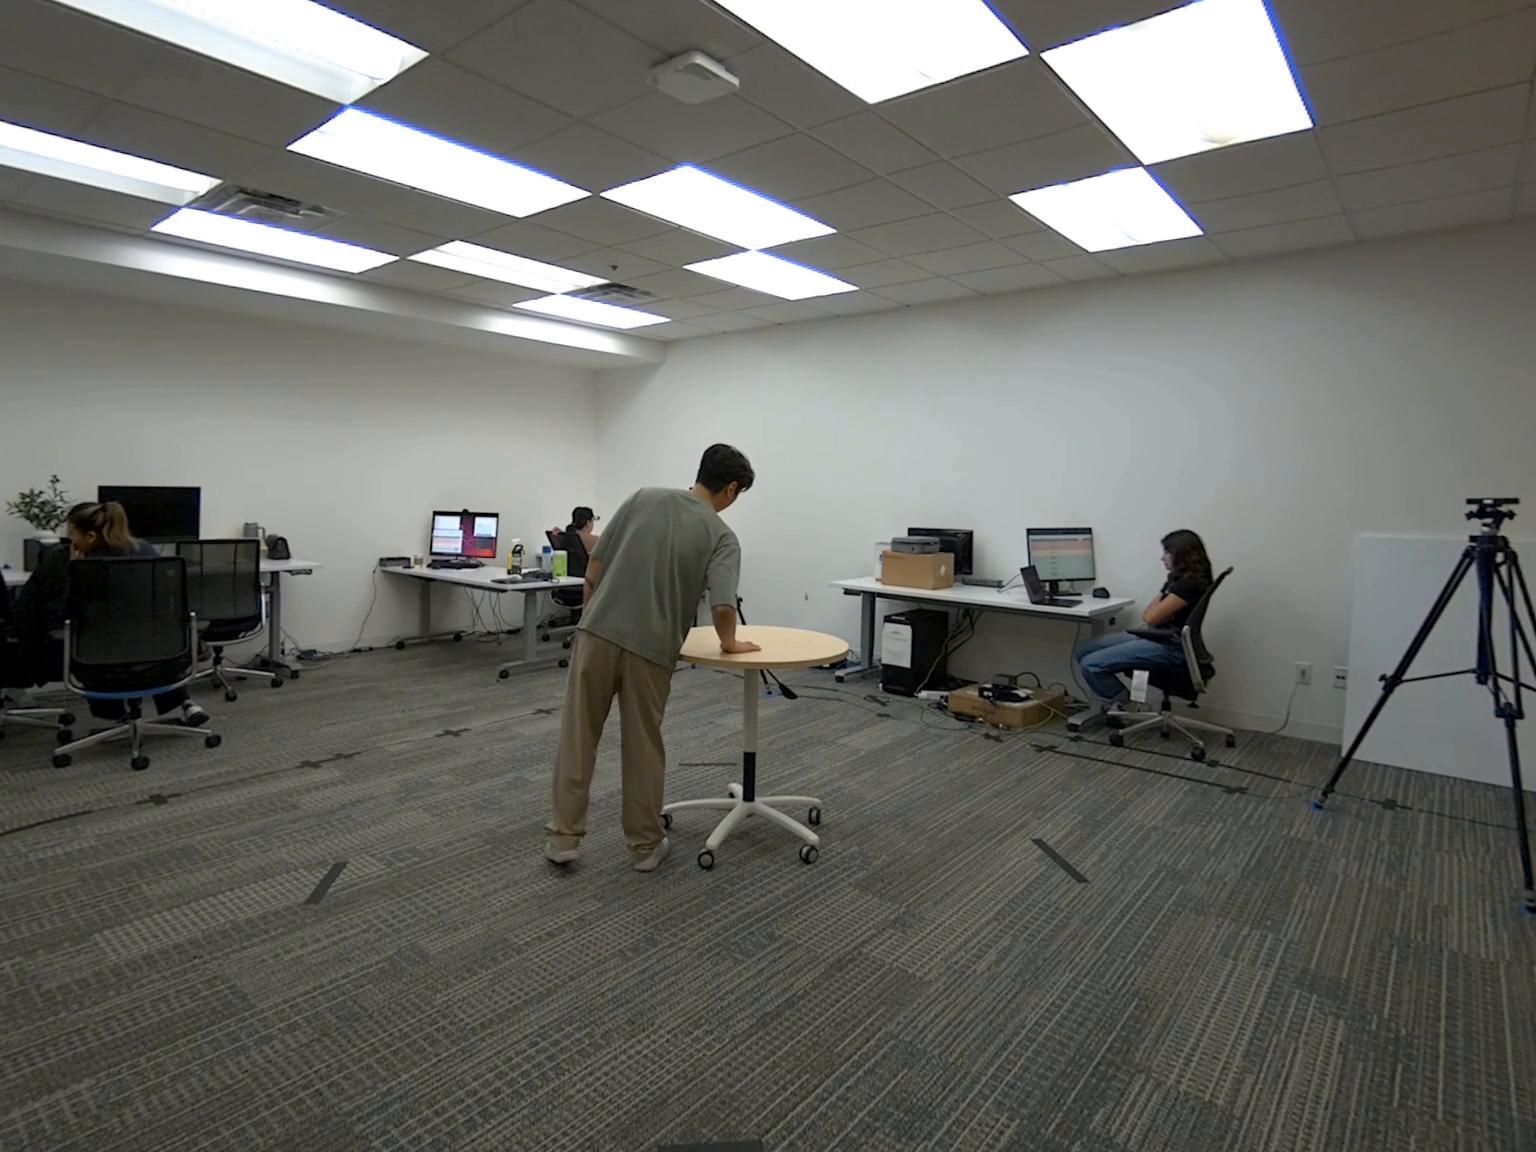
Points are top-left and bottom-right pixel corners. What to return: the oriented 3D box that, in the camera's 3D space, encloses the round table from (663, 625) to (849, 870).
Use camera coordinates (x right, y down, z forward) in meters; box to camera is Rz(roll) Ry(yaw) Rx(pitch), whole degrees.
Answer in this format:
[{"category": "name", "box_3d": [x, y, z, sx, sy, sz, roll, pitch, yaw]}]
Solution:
[{"category": "round table", "box_3d": [-0.081, 0.652, 3.415, 0.763, 0.791, 0.768, 1, 4, -2]}]
